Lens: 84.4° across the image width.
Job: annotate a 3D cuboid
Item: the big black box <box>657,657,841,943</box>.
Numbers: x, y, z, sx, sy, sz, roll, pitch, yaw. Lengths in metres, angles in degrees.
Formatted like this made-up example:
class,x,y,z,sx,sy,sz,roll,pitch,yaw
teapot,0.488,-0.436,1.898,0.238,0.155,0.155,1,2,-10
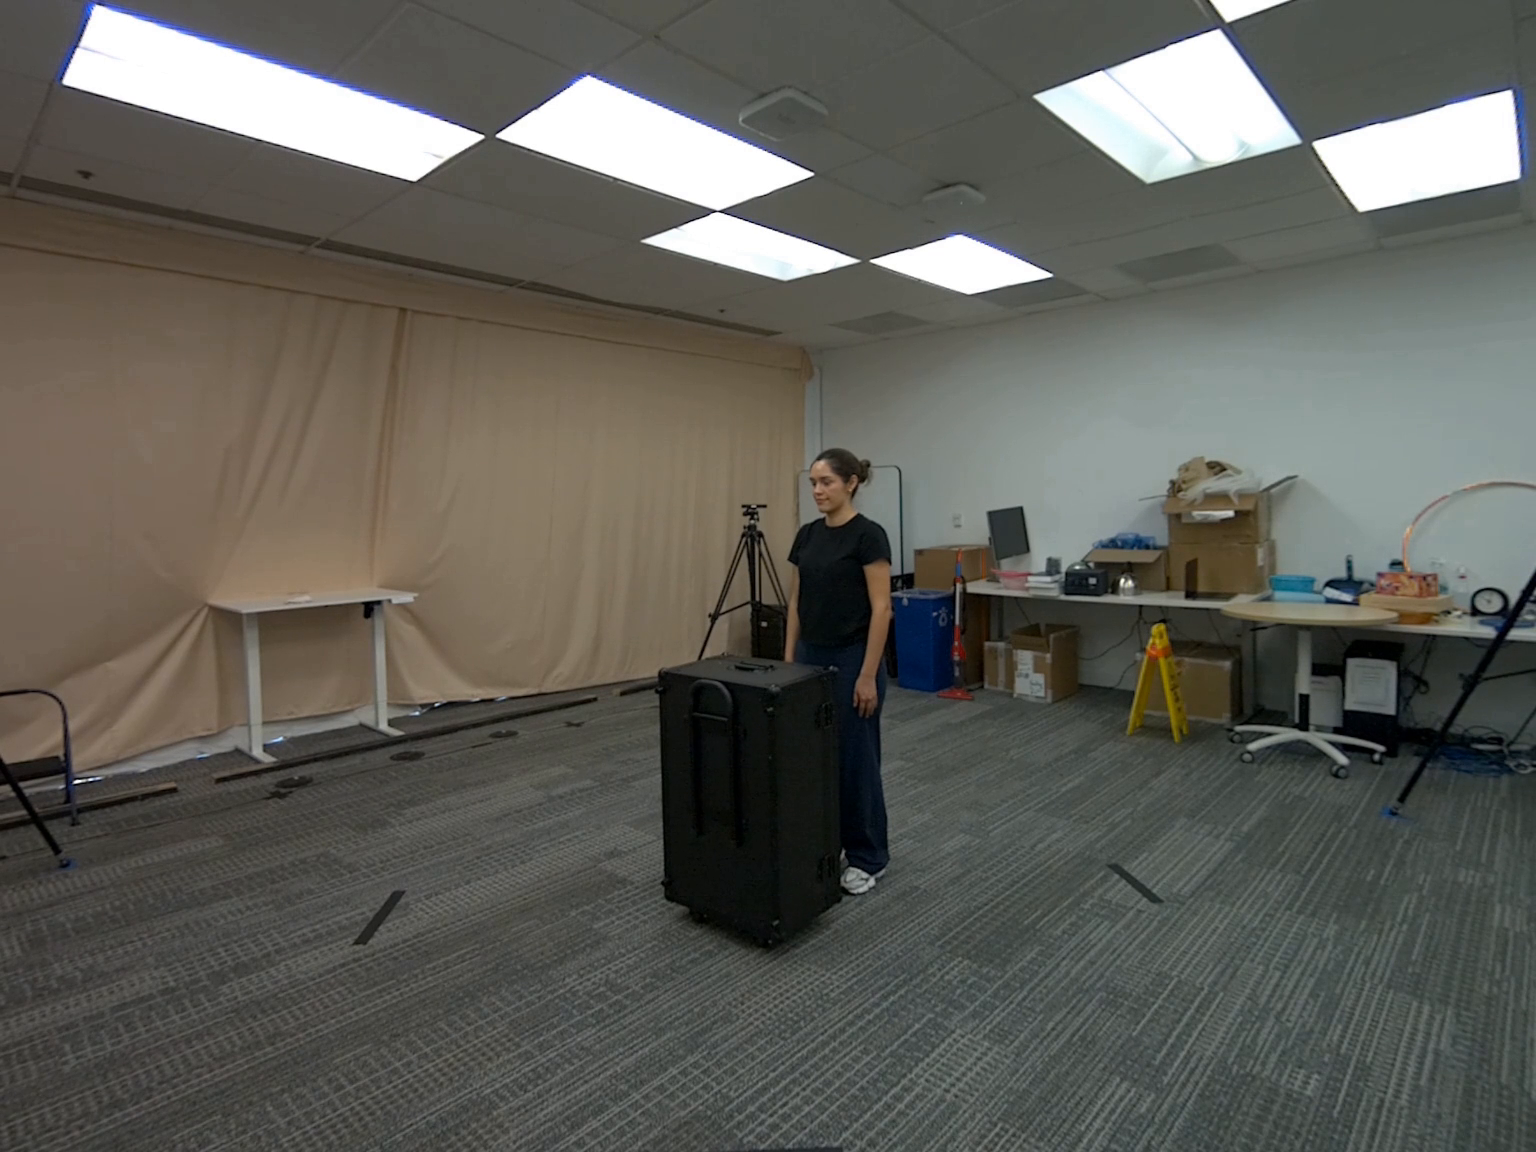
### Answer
class,x,y,z,sx,sy,sz,roll,pitch,yaw
big black box,-0.049,0.735,2.786,0.538,0.859,0.385,2,6,38
